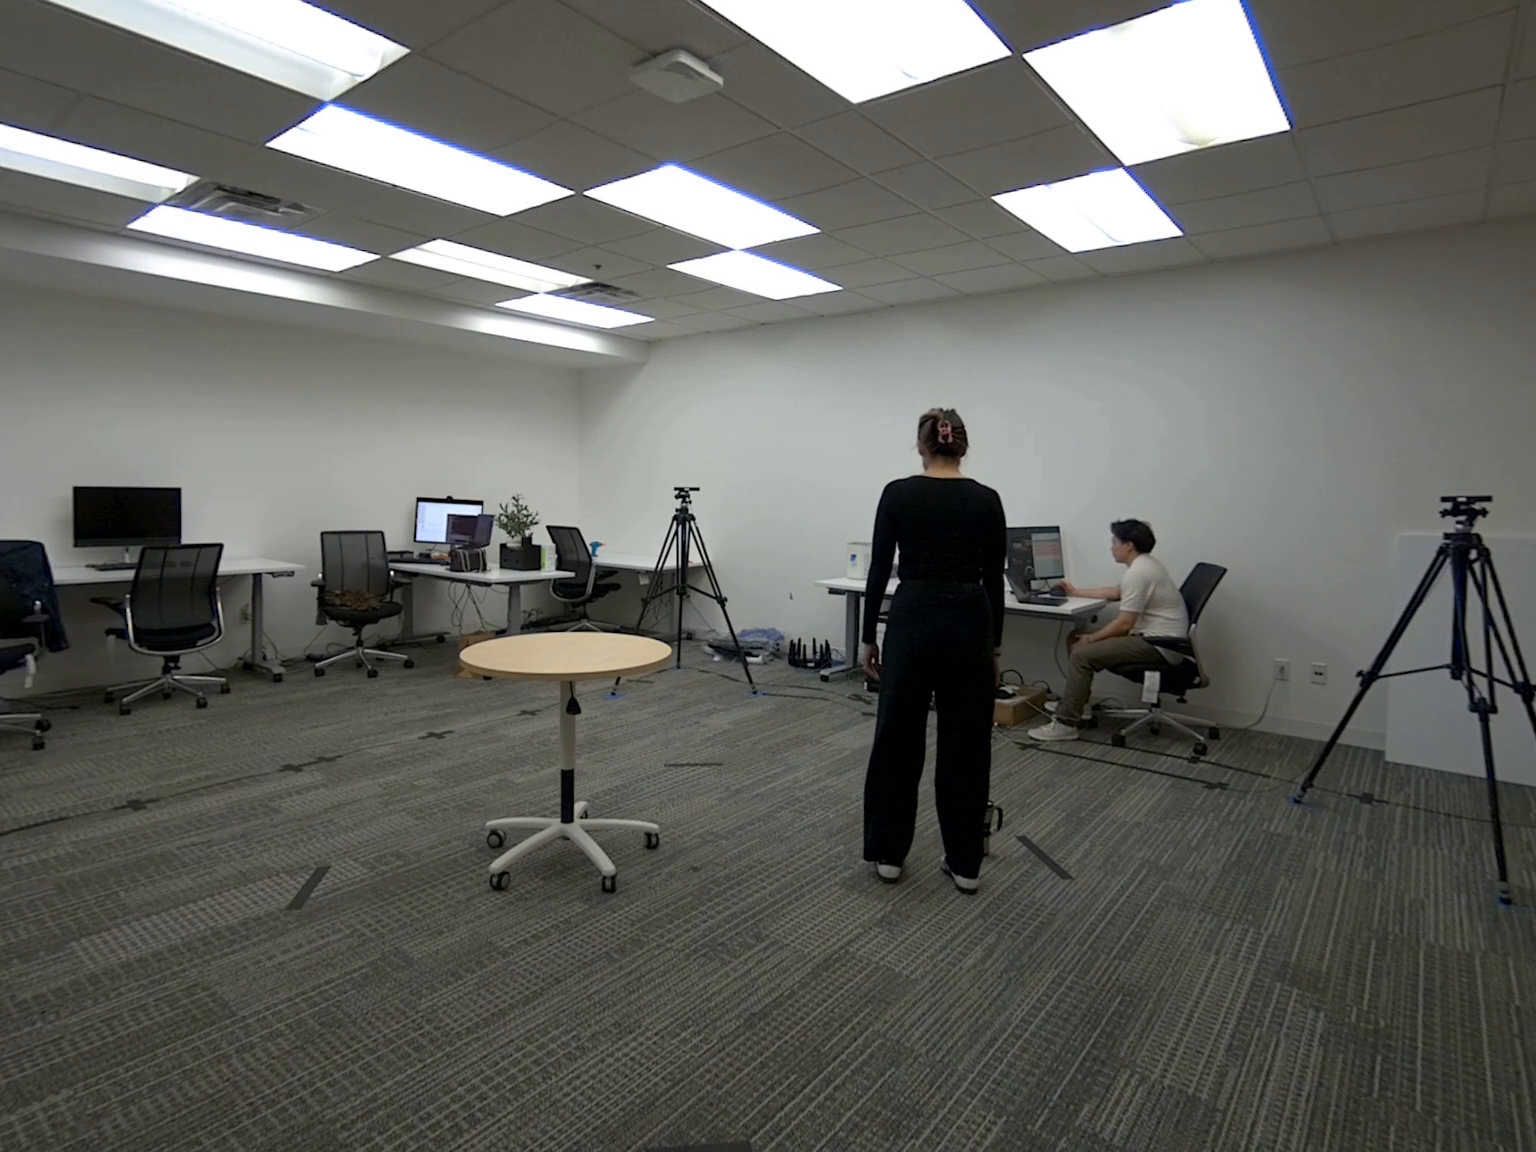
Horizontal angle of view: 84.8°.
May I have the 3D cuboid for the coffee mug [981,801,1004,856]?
[{"bbox_3d":[0.842,0.973,3.275,0.125,0.203,0.086,0,-1,21],"label":"coffee mug"}]
